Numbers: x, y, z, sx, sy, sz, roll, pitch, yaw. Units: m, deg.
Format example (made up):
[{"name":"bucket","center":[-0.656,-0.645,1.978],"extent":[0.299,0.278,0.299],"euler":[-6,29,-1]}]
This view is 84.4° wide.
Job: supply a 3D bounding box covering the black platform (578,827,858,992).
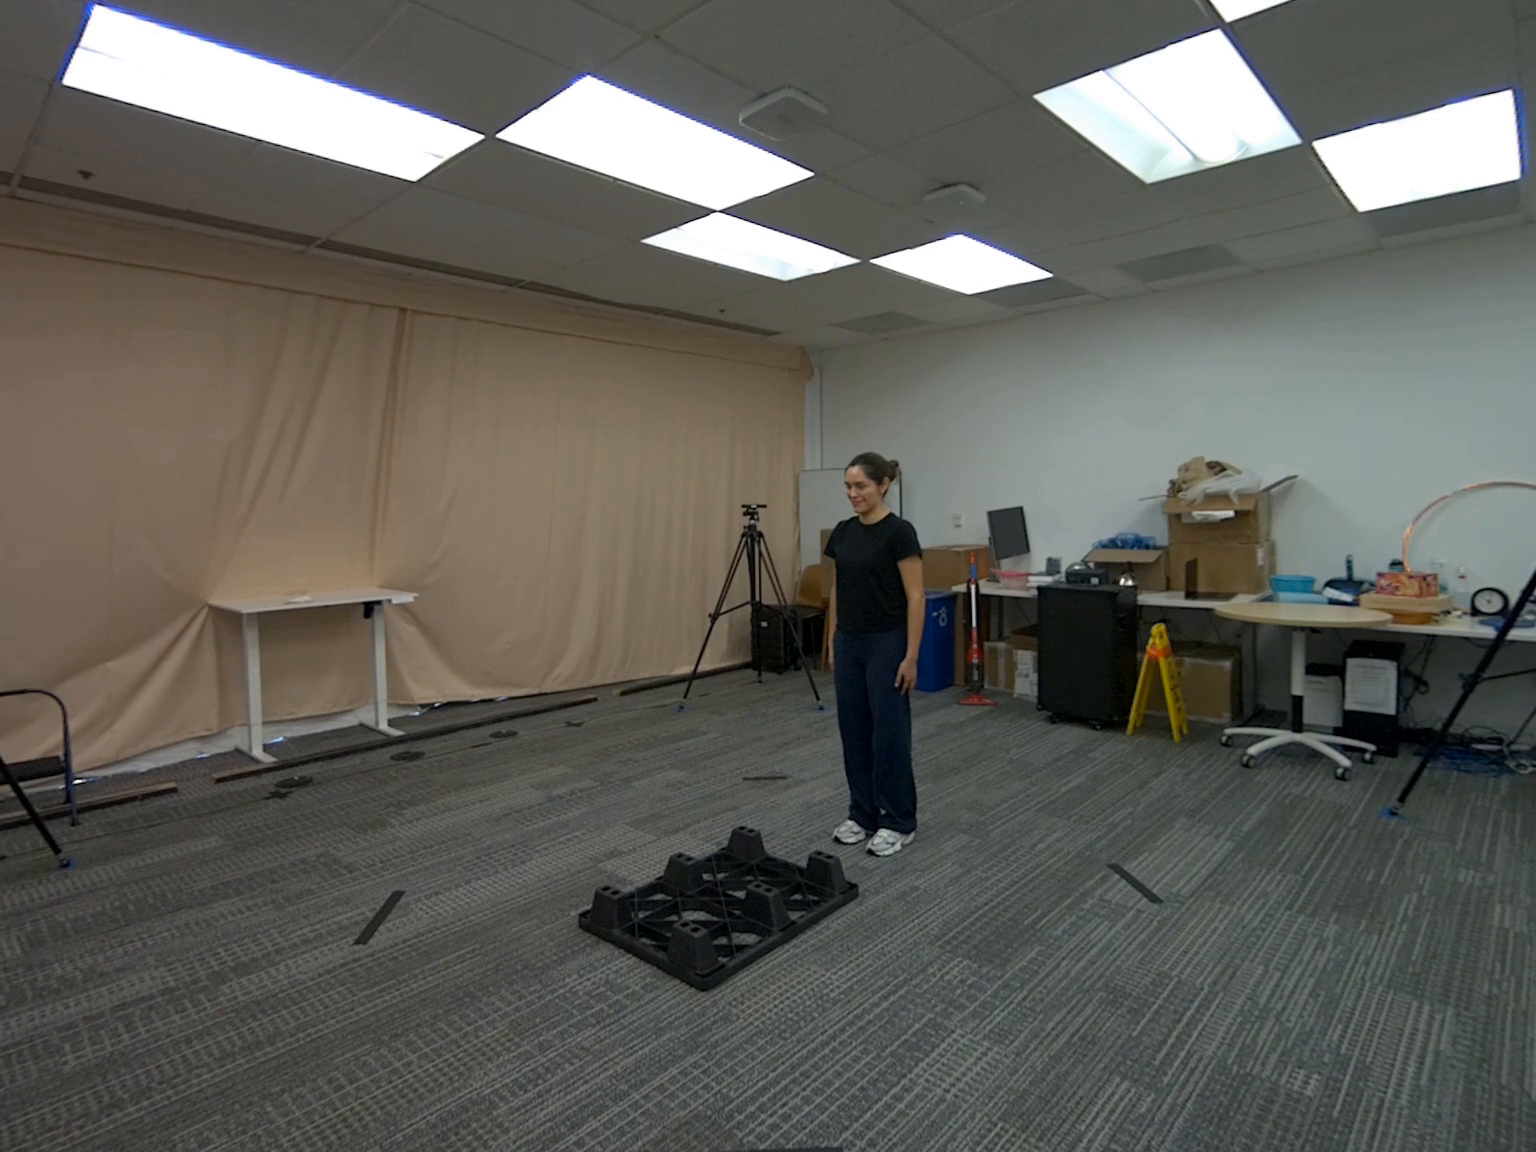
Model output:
[{"name":"black platform","center":[-0.139,1.084,2.887],"extent":[0.625,0.143,0.782],"euler":[3,7,41]}]
